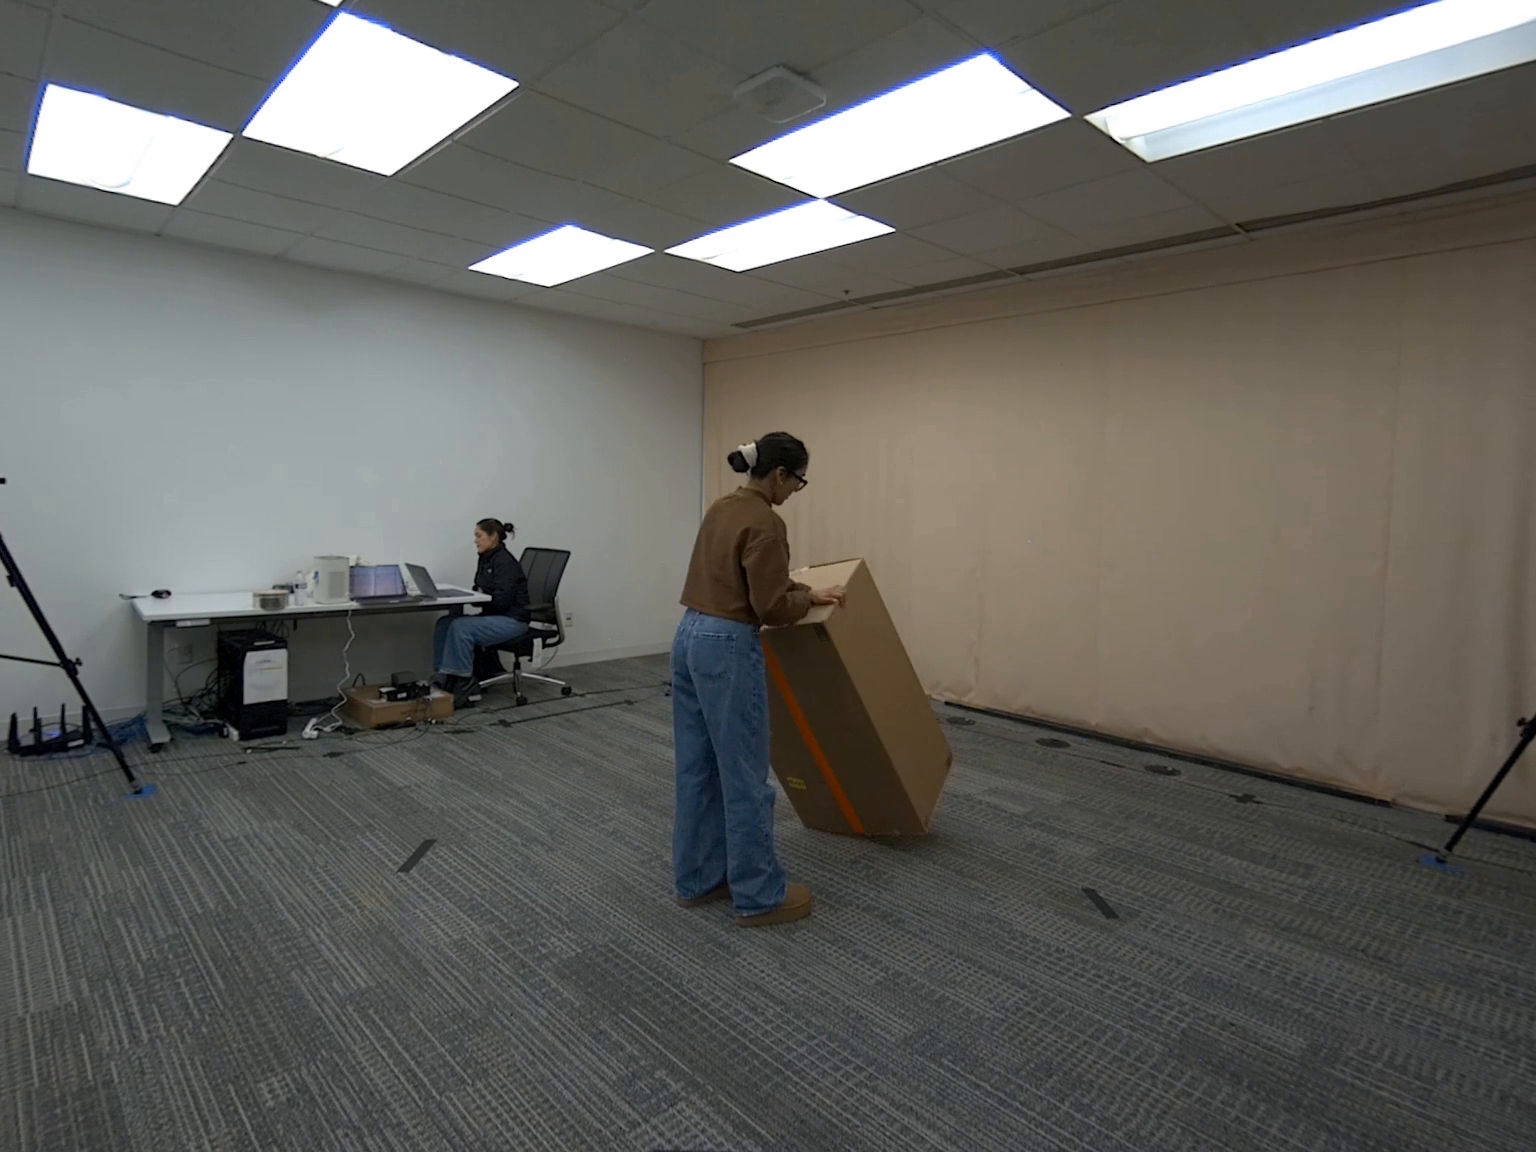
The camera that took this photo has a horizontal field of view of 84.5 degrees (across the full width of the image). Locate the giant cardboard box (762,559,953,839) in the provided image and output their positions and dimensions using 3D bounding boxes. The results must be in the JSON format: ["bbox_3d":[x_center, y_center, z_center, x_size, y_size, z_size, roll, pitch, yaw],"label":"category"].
[{"bbox_3d":[0.257,0.511,3.416,0.594,1.008,0.447,-11,24,37],"label":"giant cardboard box"}]
